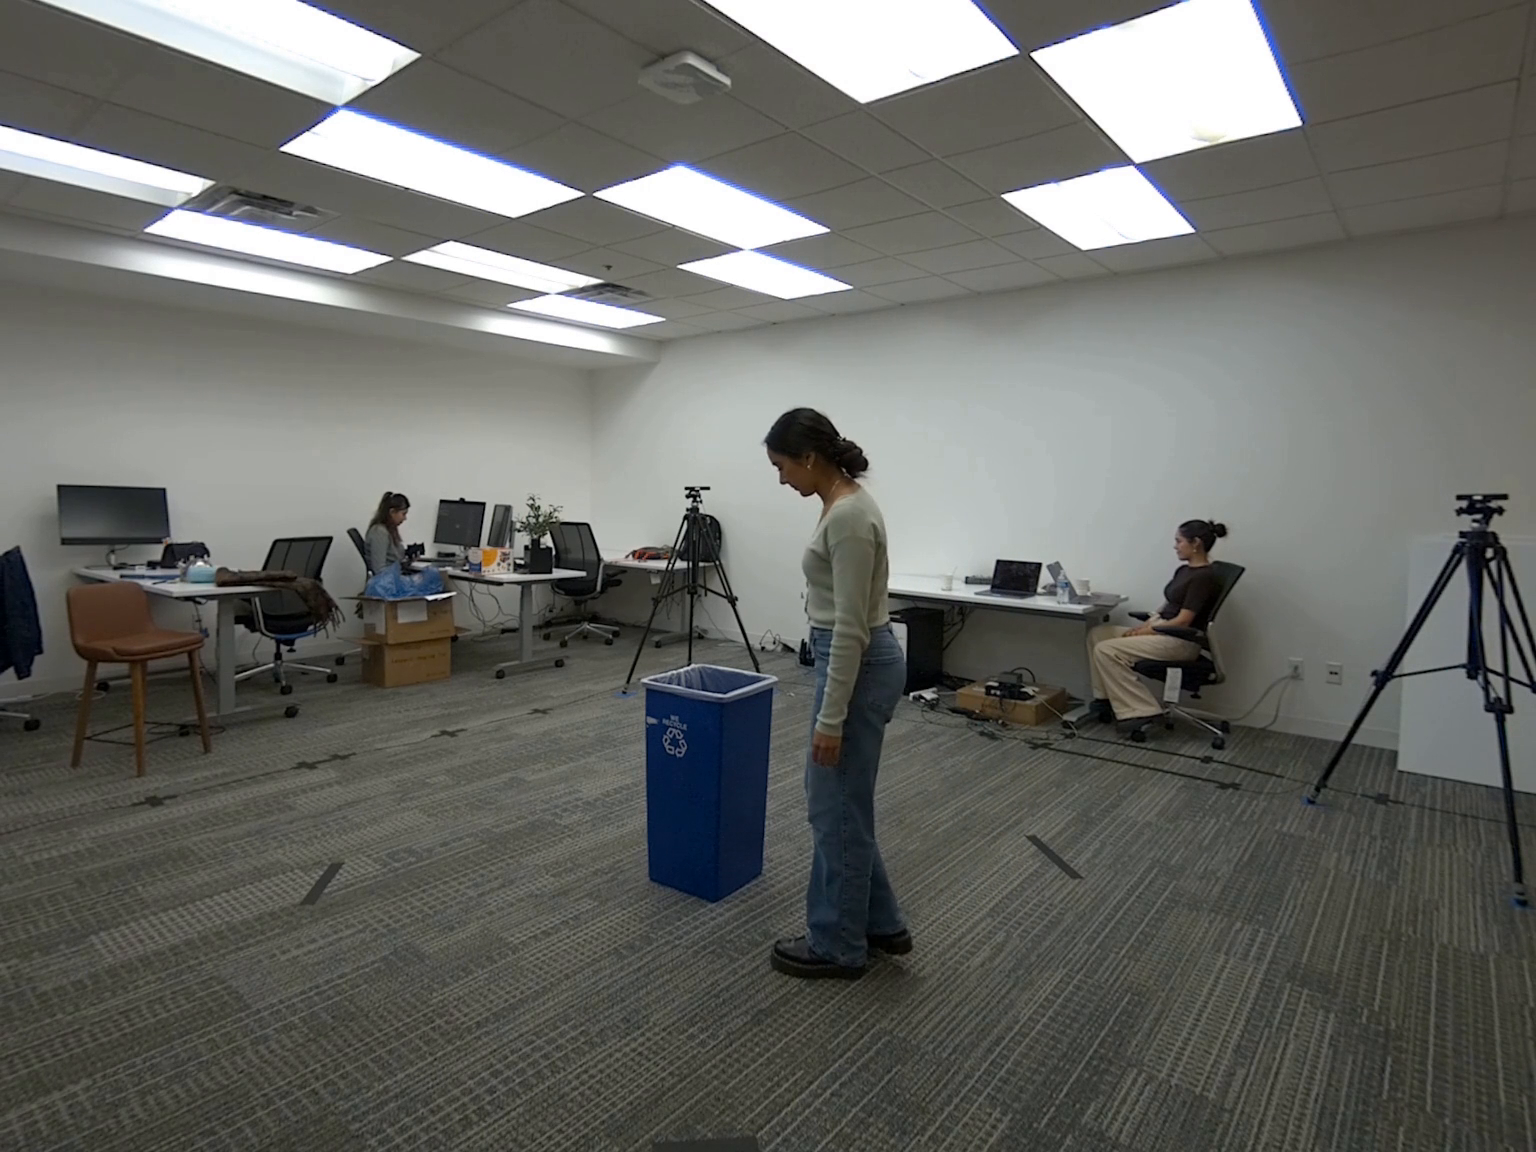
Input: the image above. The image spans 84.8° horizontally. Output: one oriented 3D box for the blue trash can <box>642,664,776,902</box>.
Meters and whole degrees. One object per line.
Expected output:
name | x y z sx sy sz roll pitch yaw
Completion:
blue trash can | -0.215 0.712 3.026 0.385 0.712 0.368 2 4 33
